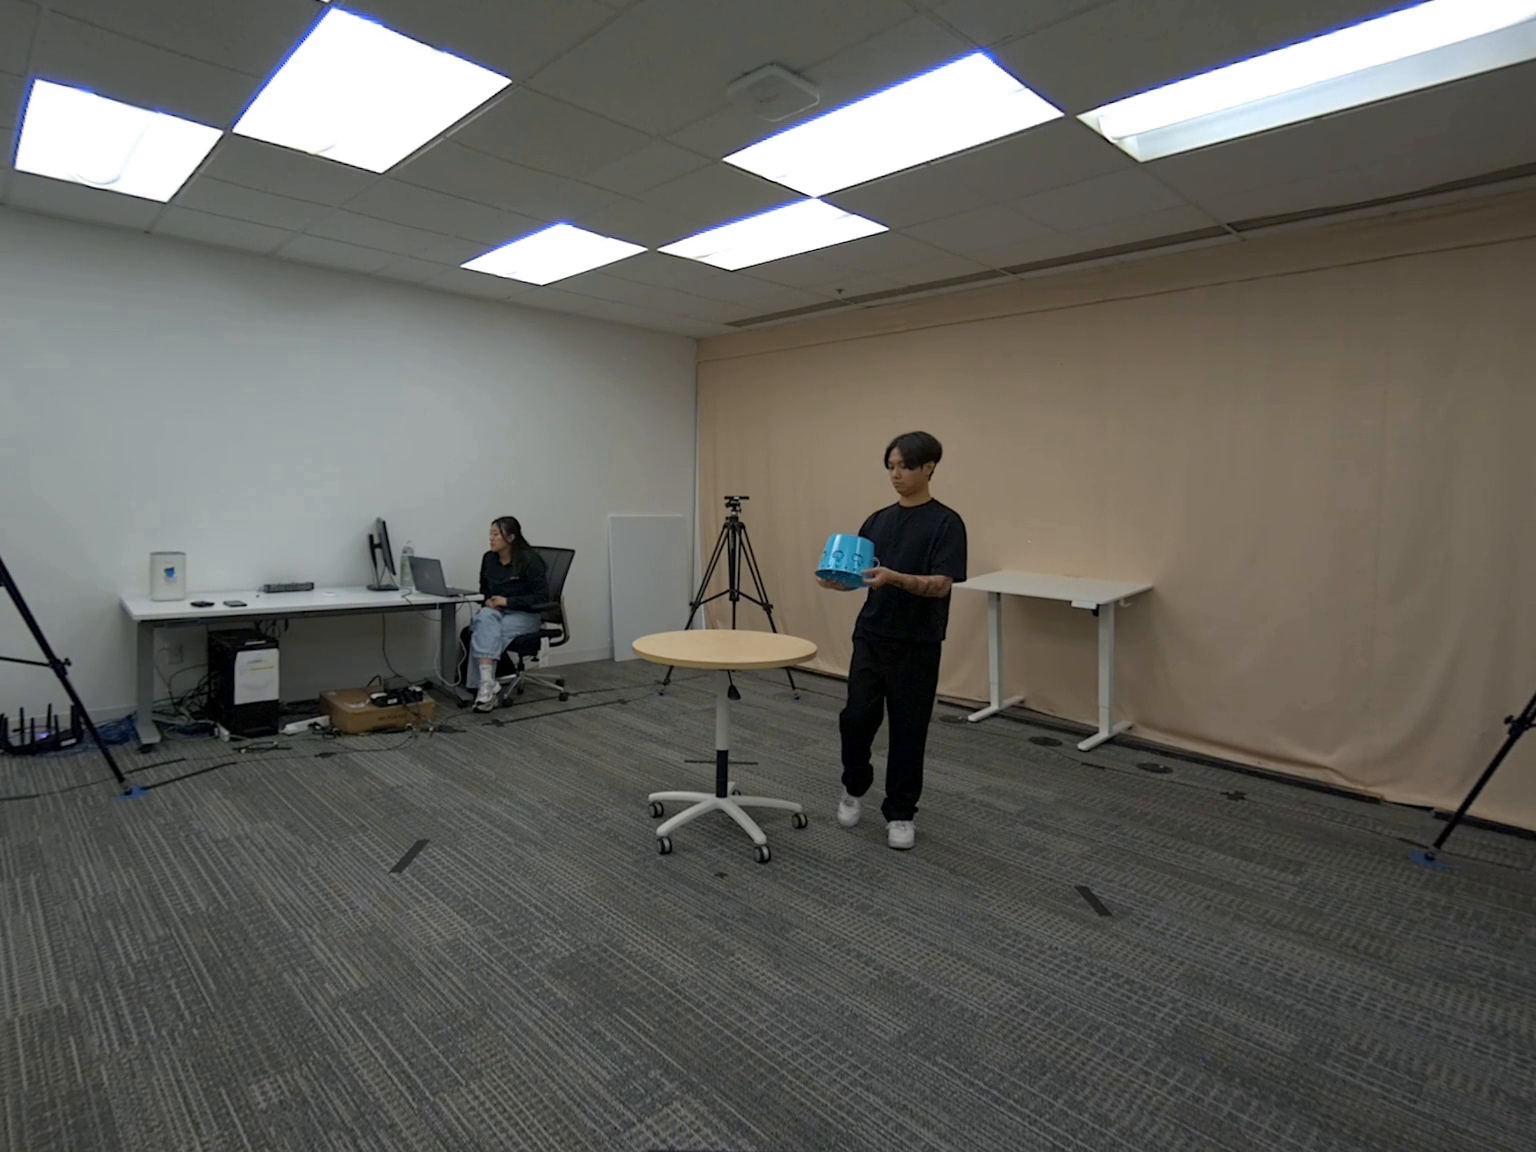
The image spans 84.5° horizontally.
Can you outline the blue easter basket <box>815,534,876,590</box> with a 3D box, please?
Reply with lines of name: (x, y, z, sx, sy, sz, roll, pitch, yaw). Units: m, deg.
blue easter basket: (0.299, -0.057, 3.260, 0.244, 0.157, 0.241, 13, -13, 2)
